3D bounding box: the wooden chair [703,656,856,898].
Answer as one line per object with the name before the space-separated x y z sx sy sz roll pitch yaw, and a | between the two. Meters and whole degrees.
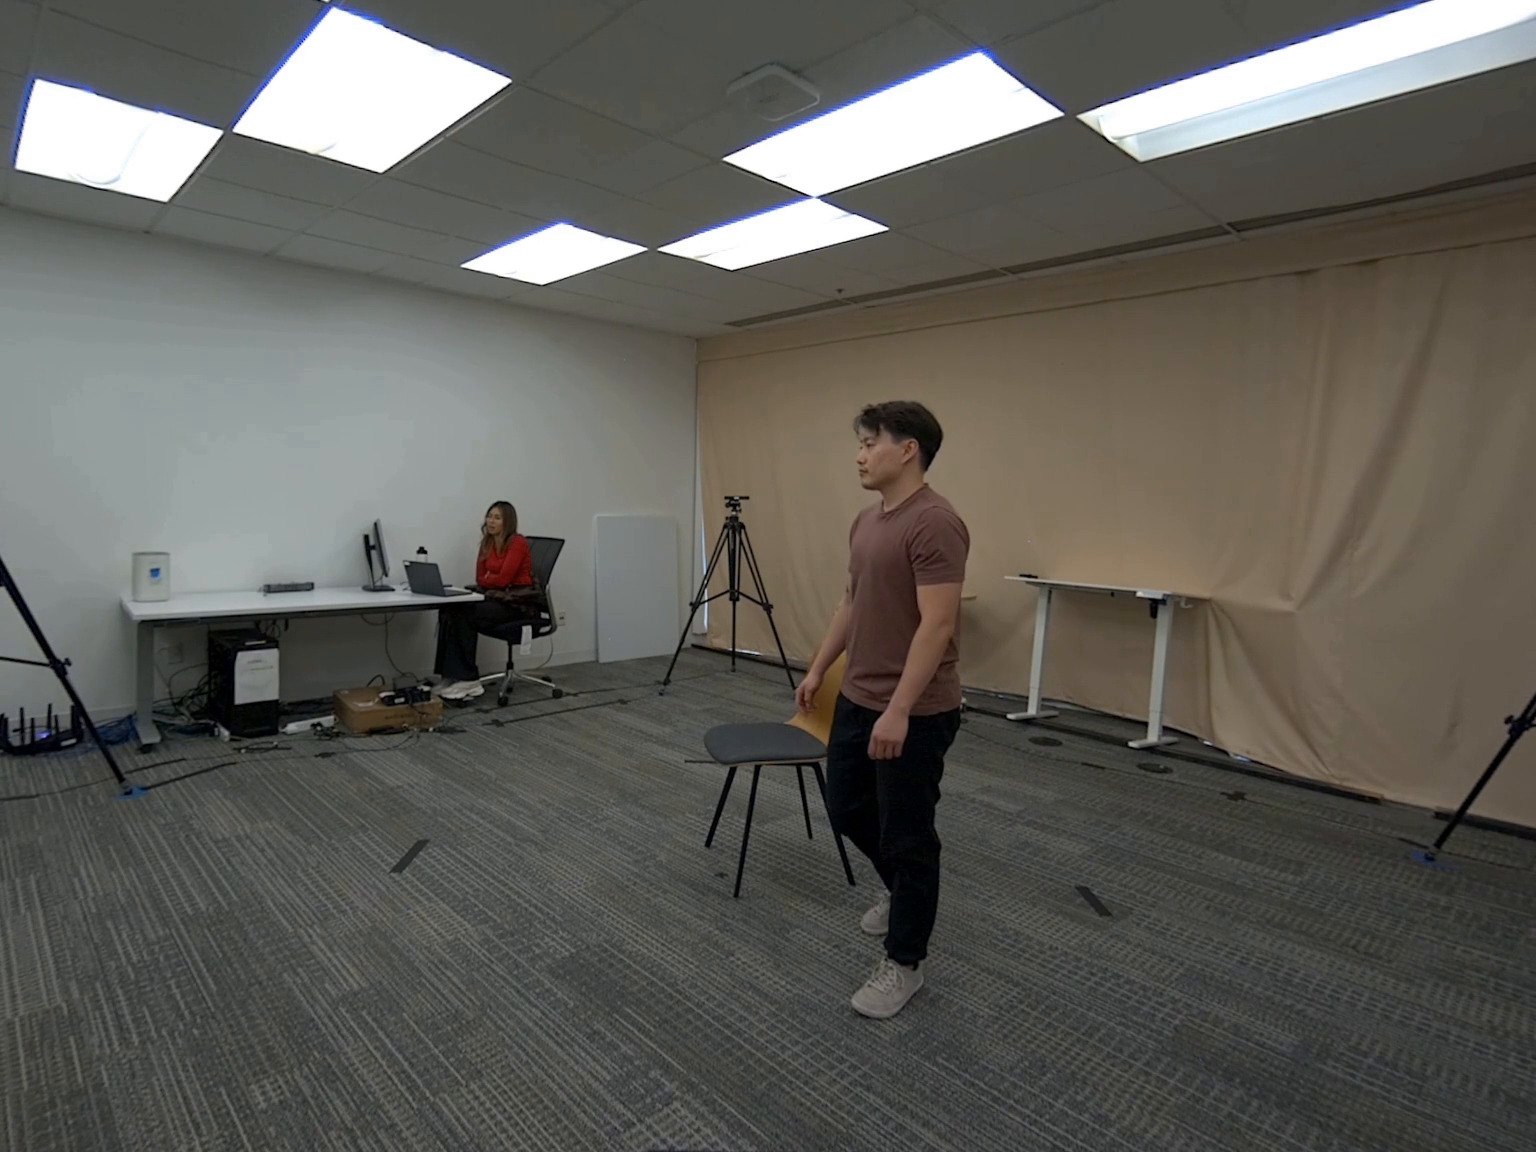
wooden chair | 0.030 0.676 3.167 0.516 0.876 0.485 5 3 -16
